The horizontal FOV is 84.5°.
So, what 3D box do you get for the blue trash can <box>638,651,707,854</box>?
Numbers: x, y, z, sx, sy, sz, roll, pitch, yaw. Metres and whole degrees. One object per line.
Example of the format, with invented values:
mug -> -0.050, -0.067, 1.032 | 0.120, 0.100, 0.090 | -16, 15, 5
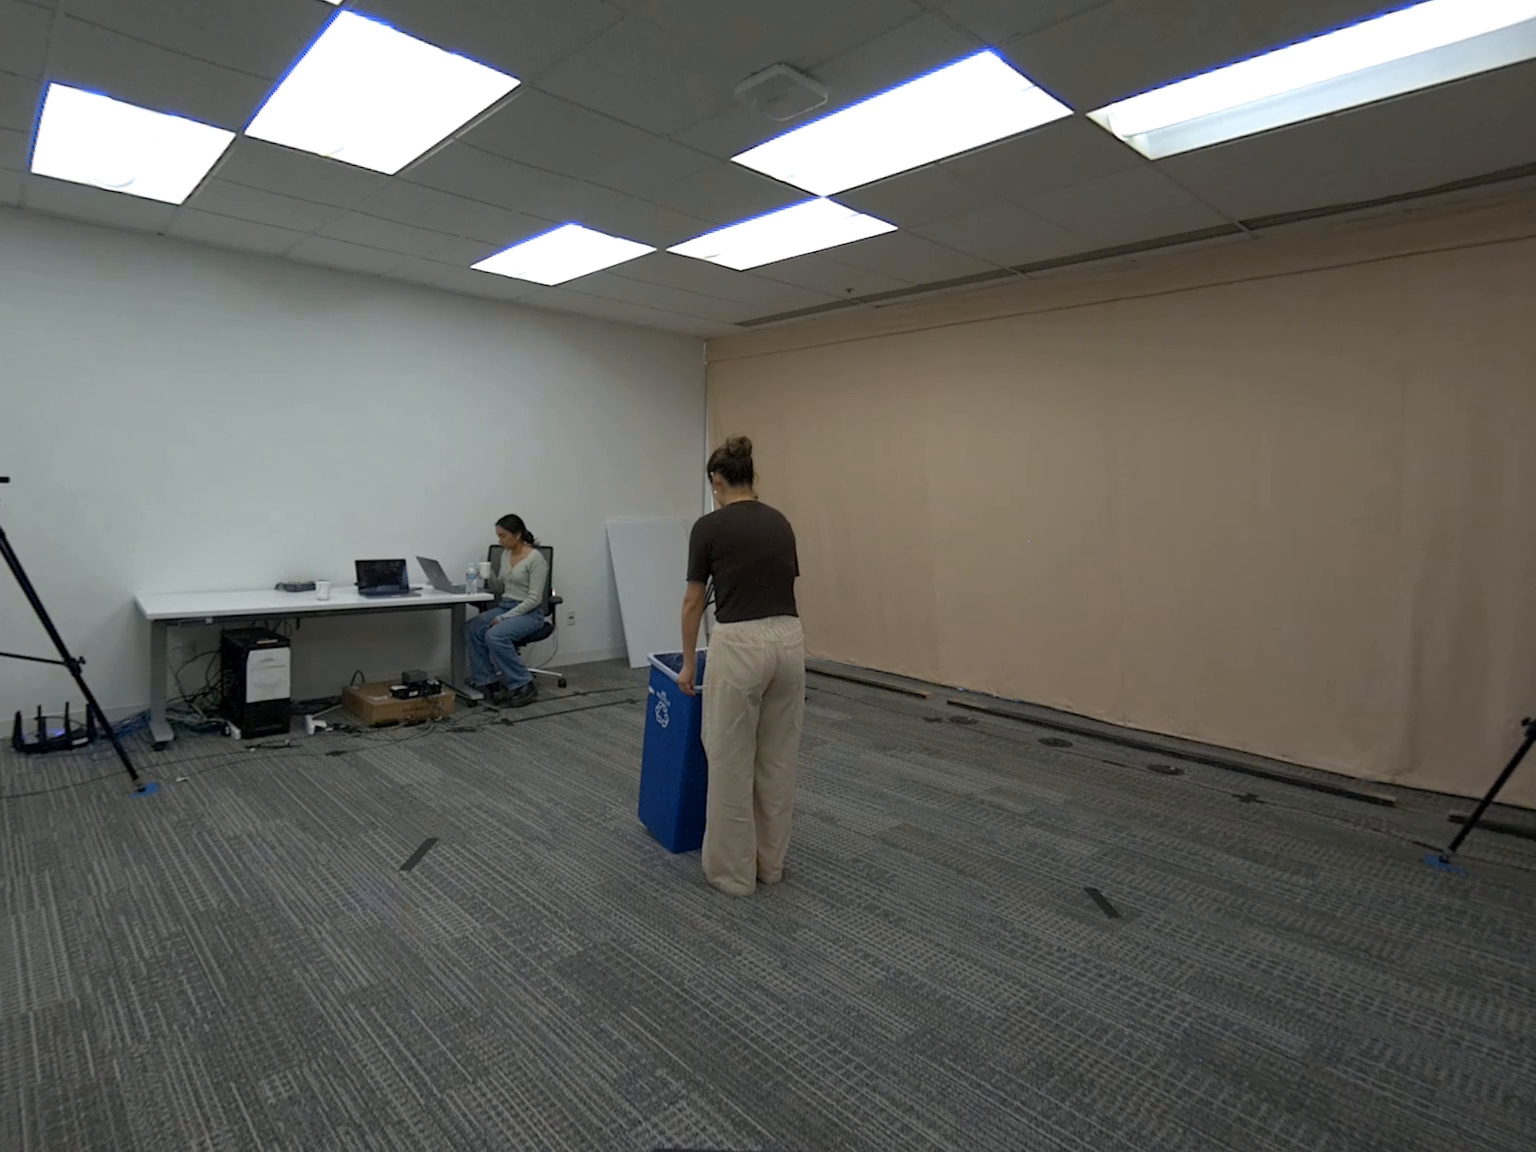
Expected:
blue trash can -> -0.285, 0.696, 3.390 | 0.370, 0.708, 0.385 | -2, 16, -38
